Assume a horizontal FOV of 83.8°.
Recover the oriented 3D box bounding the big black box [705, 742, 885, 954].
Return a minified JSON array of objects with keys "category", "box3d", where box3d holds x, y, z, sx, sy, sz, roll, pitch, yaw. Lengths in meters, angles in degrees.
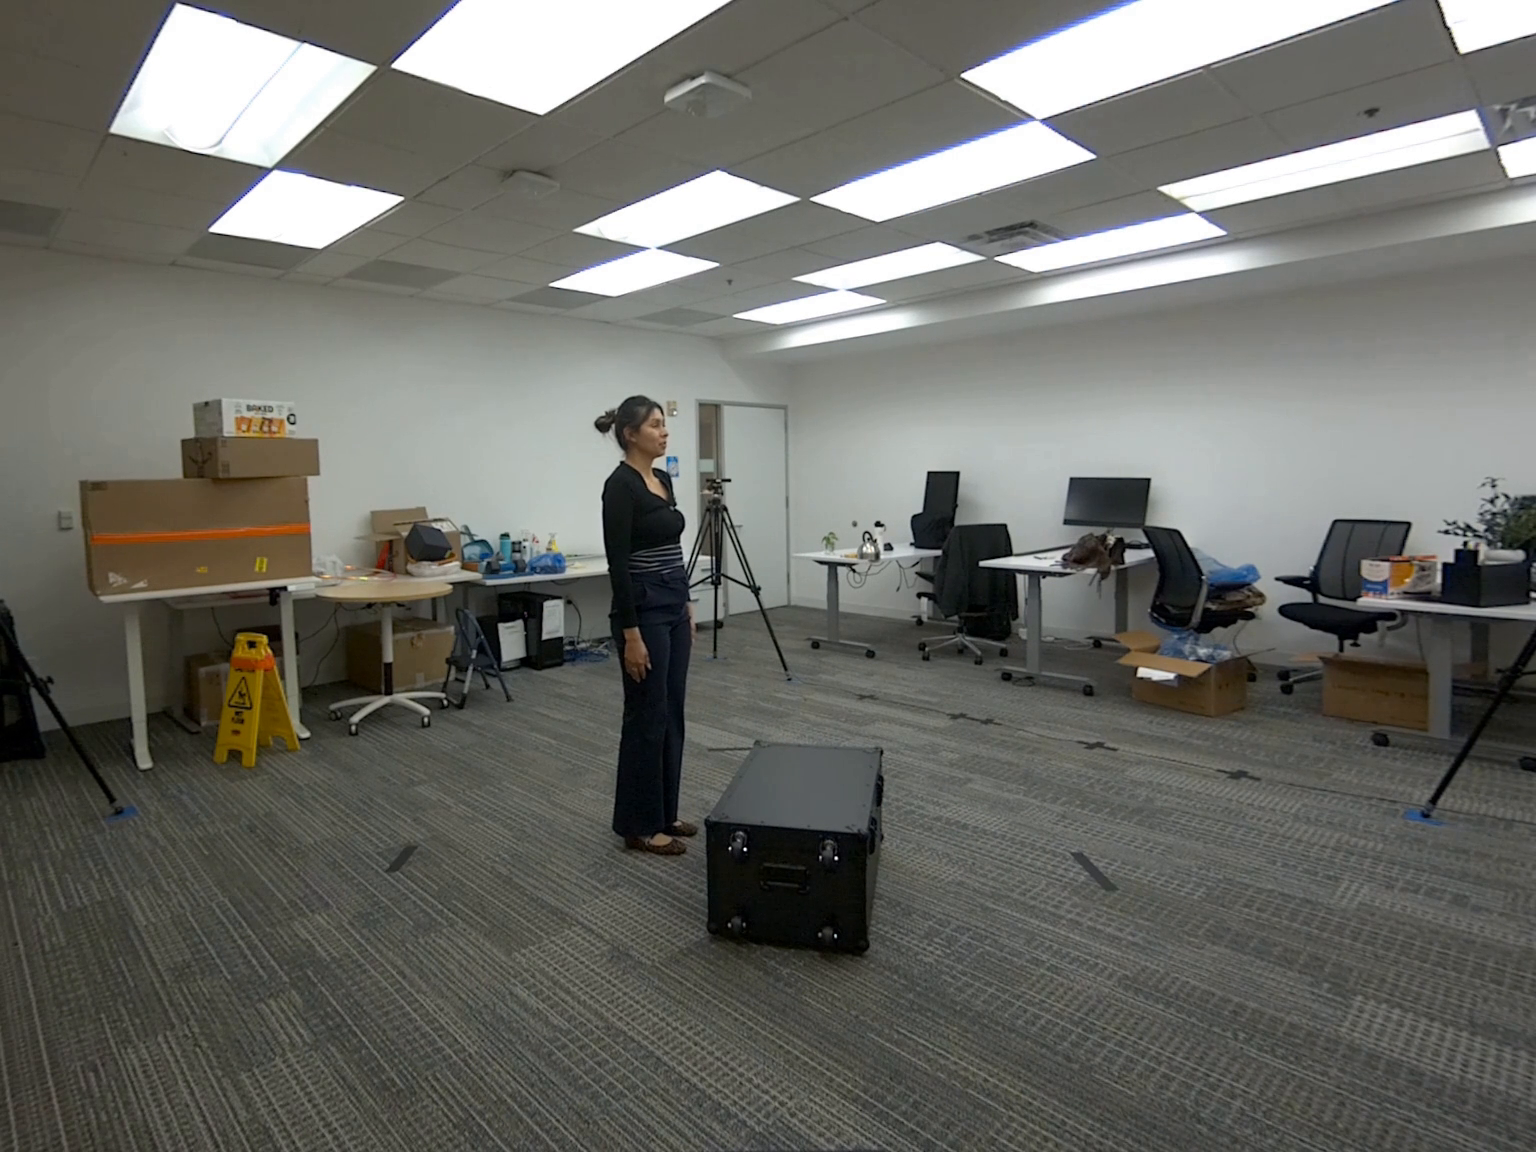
[{"category":"big black box","box3d":[0.113,0.876,2.857,0.528,0.395,0.854,0,5,12]}]
